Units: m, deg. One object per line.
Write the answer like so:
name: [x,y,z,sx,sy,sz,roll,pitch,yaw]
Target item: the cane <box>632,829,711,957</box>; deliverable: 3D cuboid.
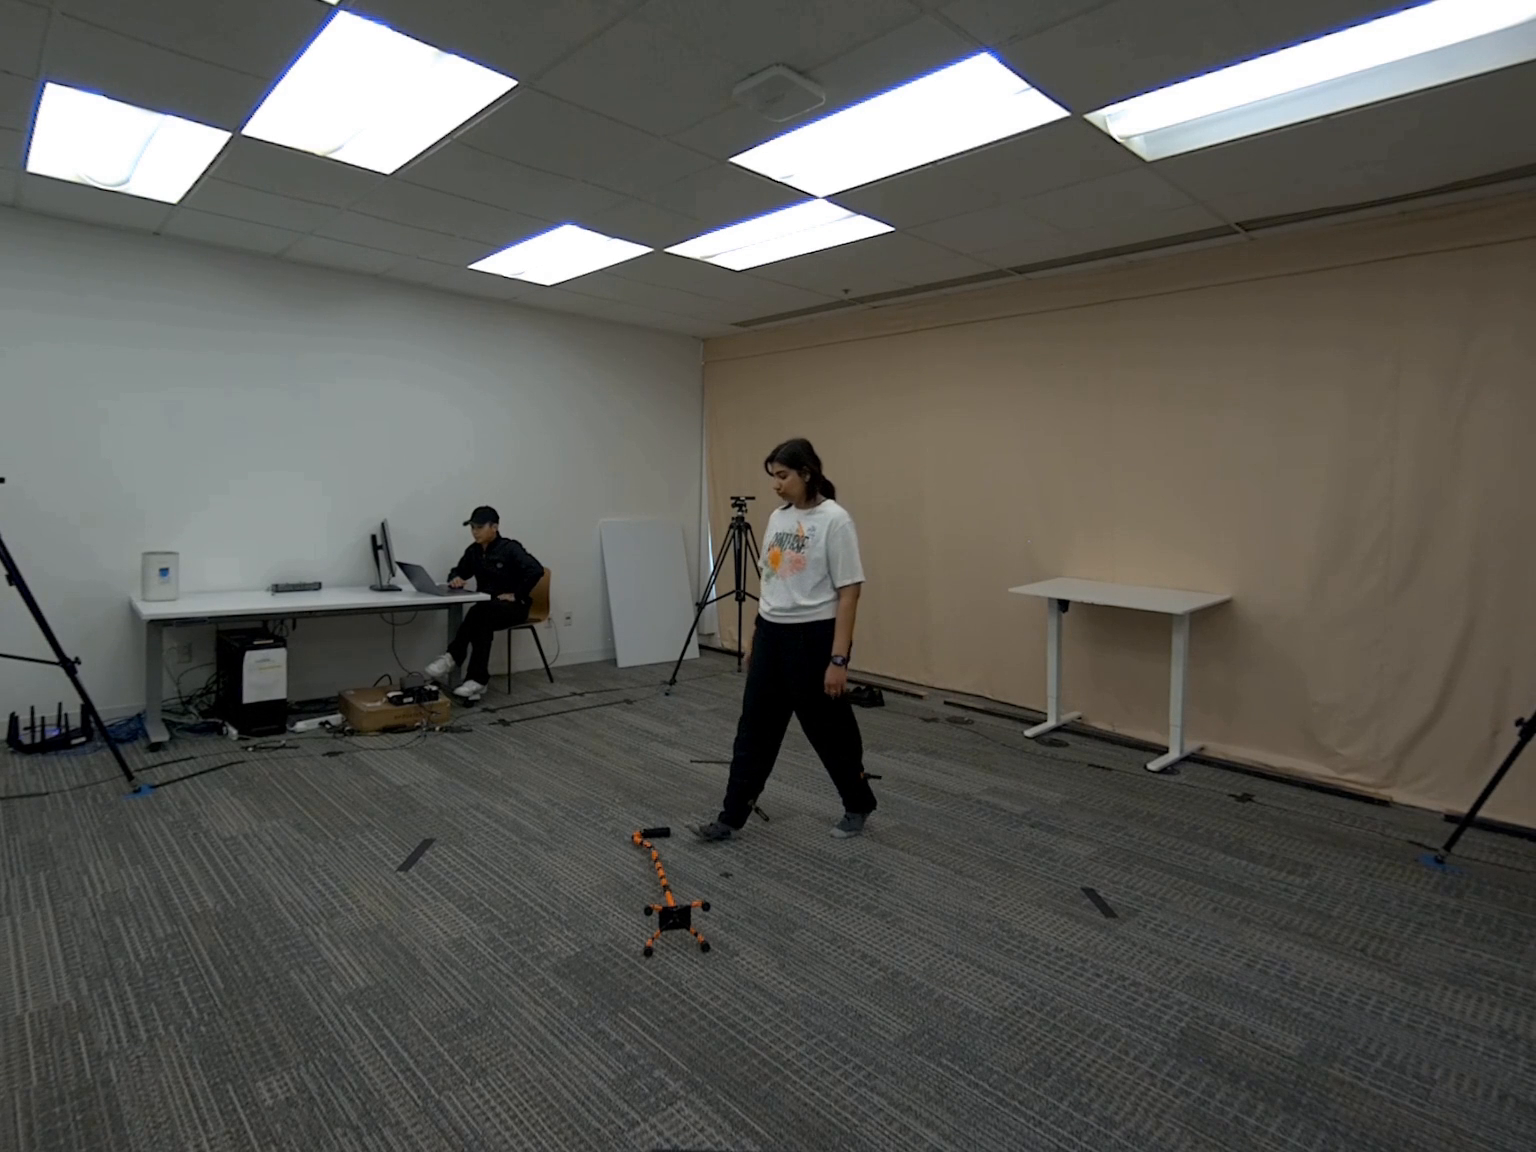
cane: [-0.390,1.061,2.997,0.204,0.151,0.917,0,1,-14]
